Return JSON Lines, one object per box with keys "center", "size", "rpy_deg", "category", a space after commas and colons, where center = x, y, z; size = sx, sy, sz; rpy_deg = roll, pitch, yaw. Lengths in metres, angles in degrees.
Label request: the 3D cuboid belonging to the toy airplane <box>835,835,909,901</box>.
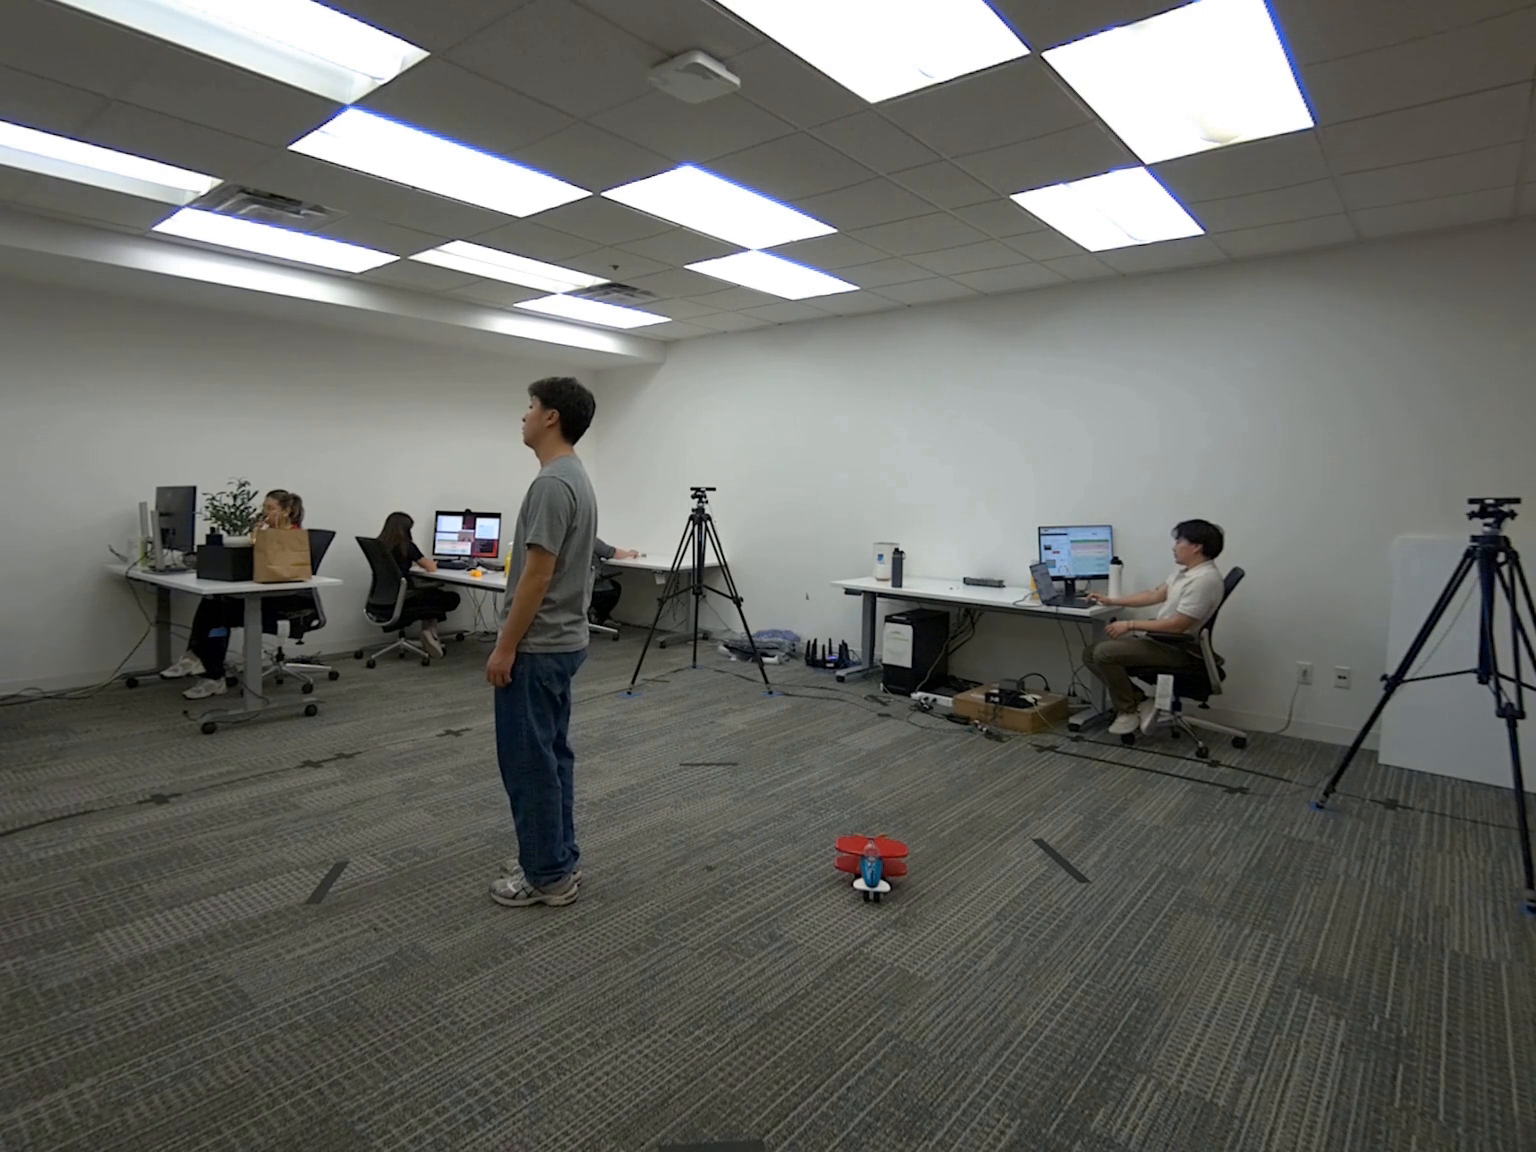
{"center": [0.376, 1.025, 2.971], "size": [0.246, 0.156, 0.265], "rpy_deg": [-1, 5, -21], "category": "toy airplane"}
